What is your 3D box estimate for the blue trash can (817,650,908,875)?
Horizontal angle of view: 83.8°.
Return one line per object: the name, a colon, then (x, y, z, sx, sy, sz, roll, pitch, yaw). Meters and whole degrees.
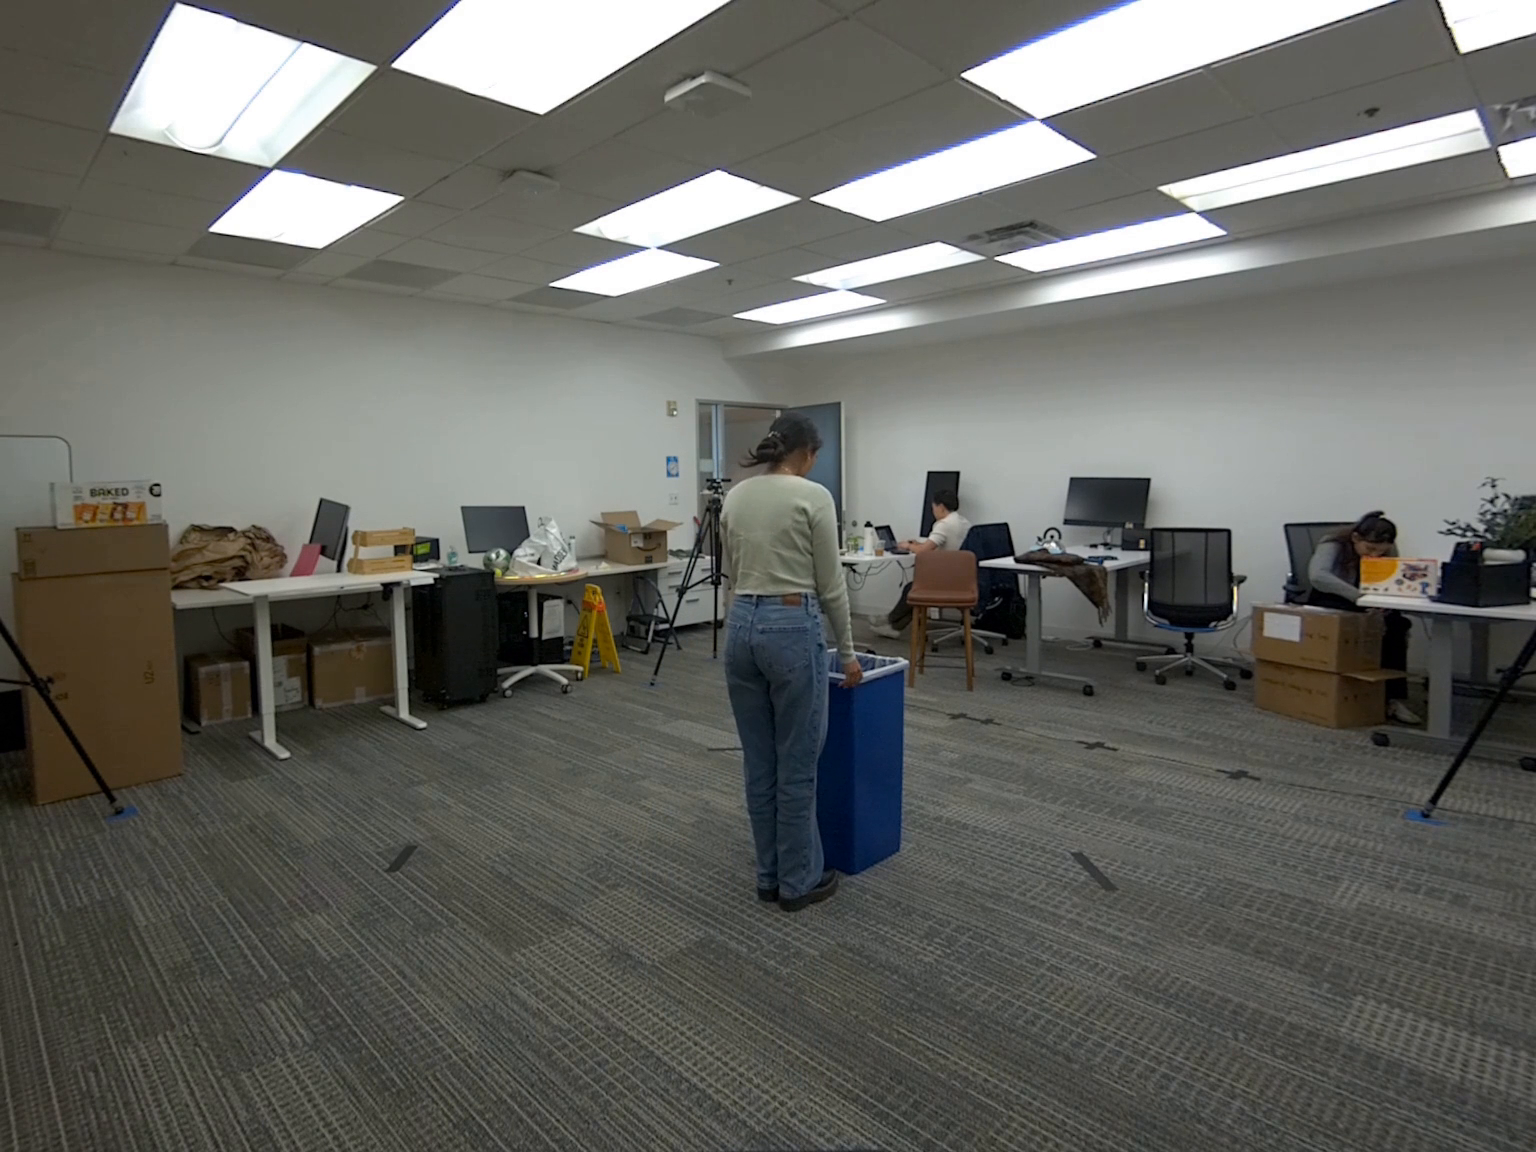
blue trash can: (0.283, 0.673, 3.167, 0.389, 0.711, 0.364, 2, 5, 43)
